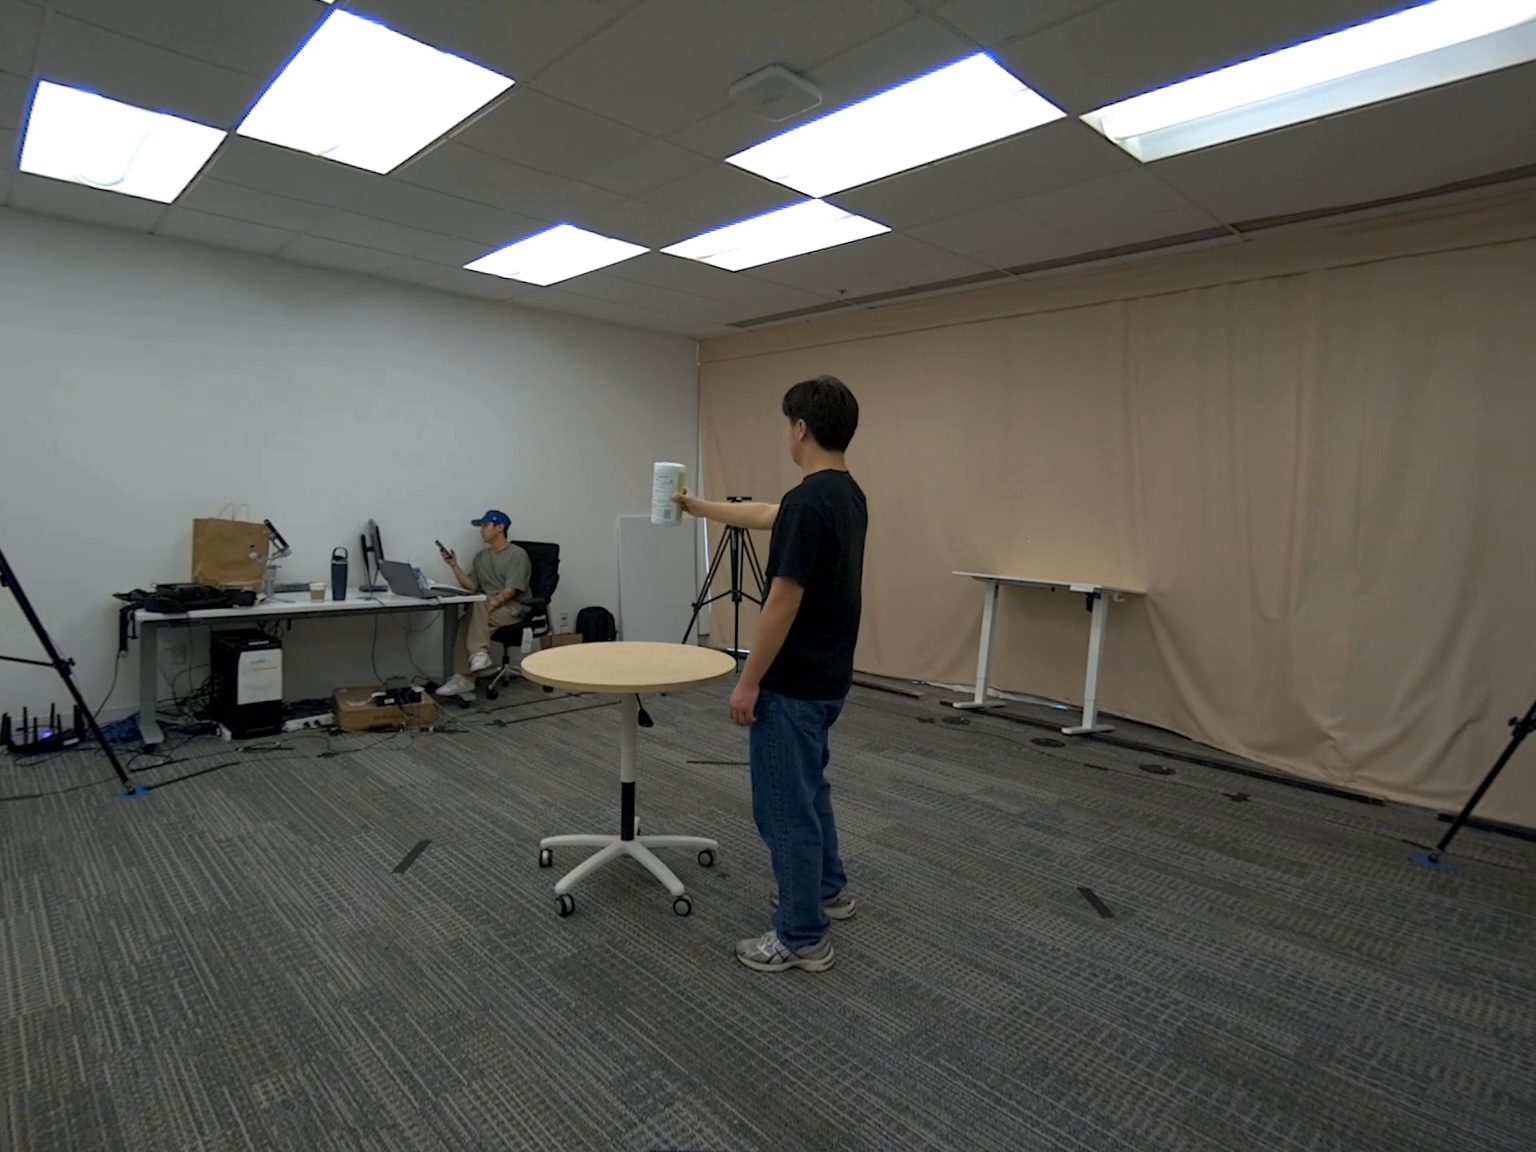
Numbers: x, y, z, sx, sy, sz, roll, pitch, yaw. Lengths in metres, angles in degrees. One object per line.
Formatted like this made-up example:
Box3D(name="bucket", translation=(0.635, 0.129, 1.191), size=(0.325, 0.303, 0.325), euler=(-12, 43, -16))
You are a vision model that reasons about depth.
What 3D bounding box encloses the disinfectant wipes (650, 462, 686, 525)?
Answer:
Box3D(name="disinfectant wipes", translation=(-0.354, -0.288, 2.952), size=(0.117, 0.216, 0.118), euler=(4, 8, -2))
